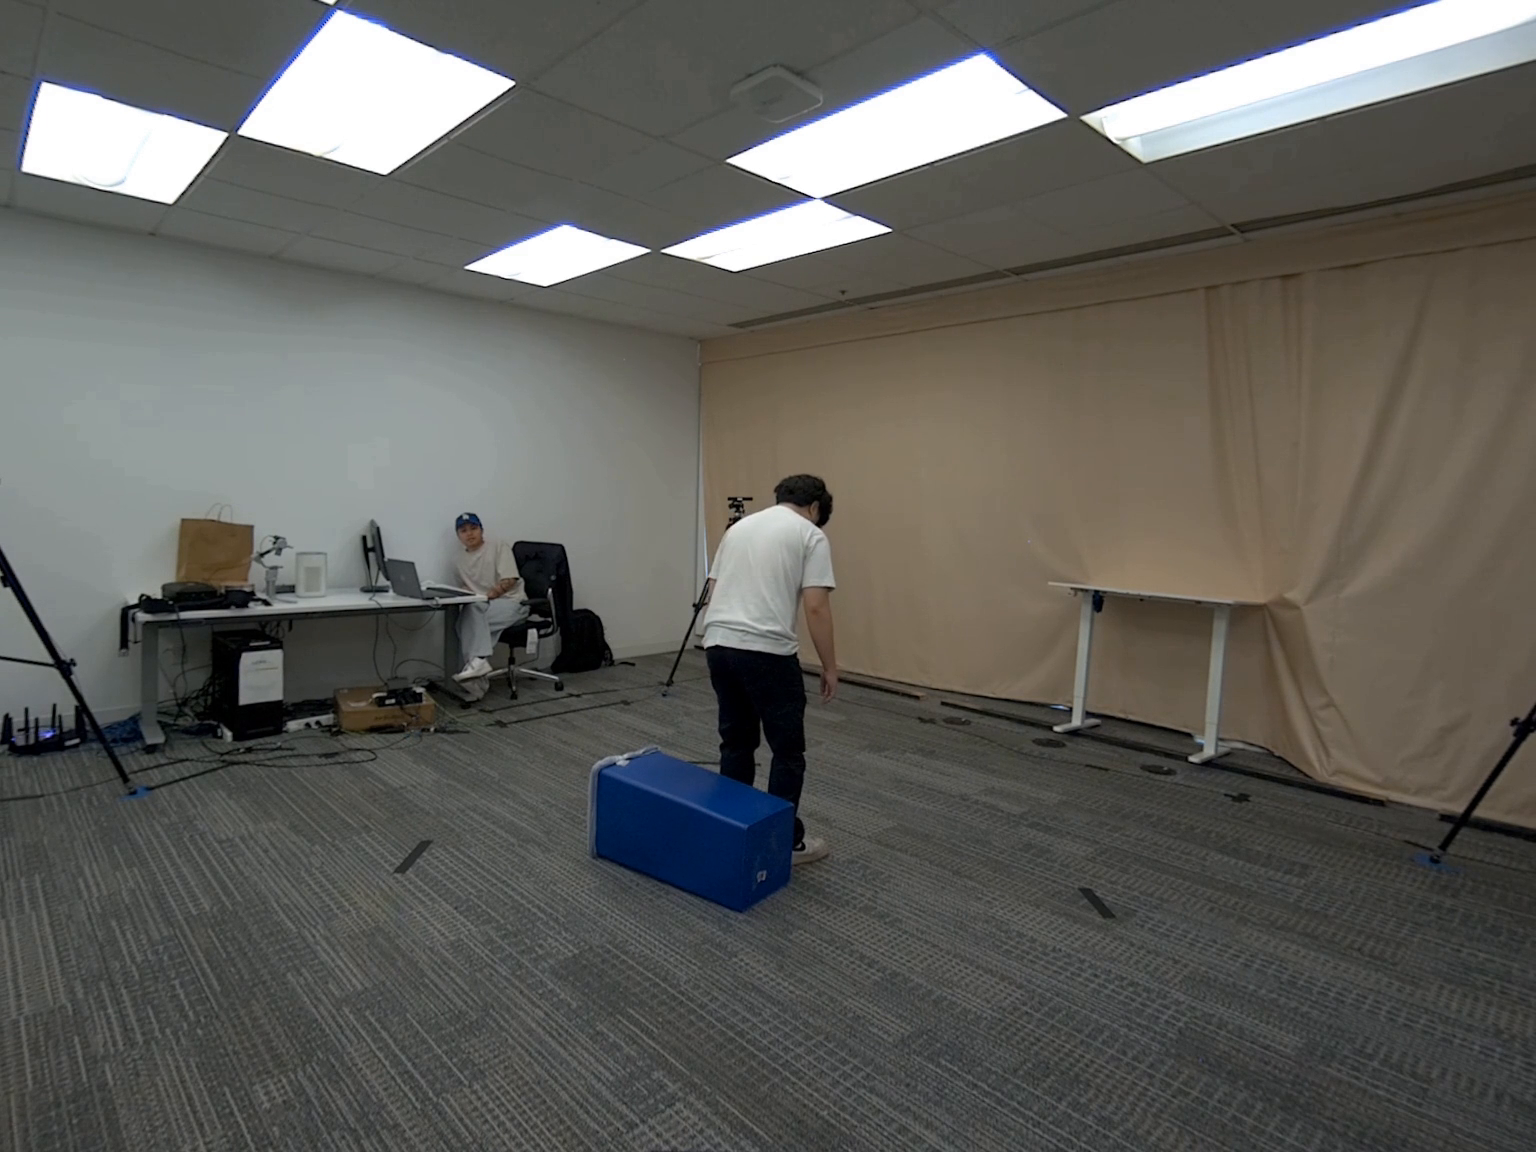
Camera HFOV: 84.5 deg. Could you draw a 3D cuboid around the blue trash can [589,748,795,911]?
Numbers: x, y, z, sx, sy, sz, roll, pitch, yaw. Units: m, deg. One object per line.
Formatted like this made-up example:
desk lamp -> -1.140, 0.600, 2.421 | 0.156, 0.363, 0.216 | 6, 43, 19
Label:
blue trash can -> -0.297, 0.937, 3.137 | 0.732, 0.373, 0.369 | 9, 7, 37
